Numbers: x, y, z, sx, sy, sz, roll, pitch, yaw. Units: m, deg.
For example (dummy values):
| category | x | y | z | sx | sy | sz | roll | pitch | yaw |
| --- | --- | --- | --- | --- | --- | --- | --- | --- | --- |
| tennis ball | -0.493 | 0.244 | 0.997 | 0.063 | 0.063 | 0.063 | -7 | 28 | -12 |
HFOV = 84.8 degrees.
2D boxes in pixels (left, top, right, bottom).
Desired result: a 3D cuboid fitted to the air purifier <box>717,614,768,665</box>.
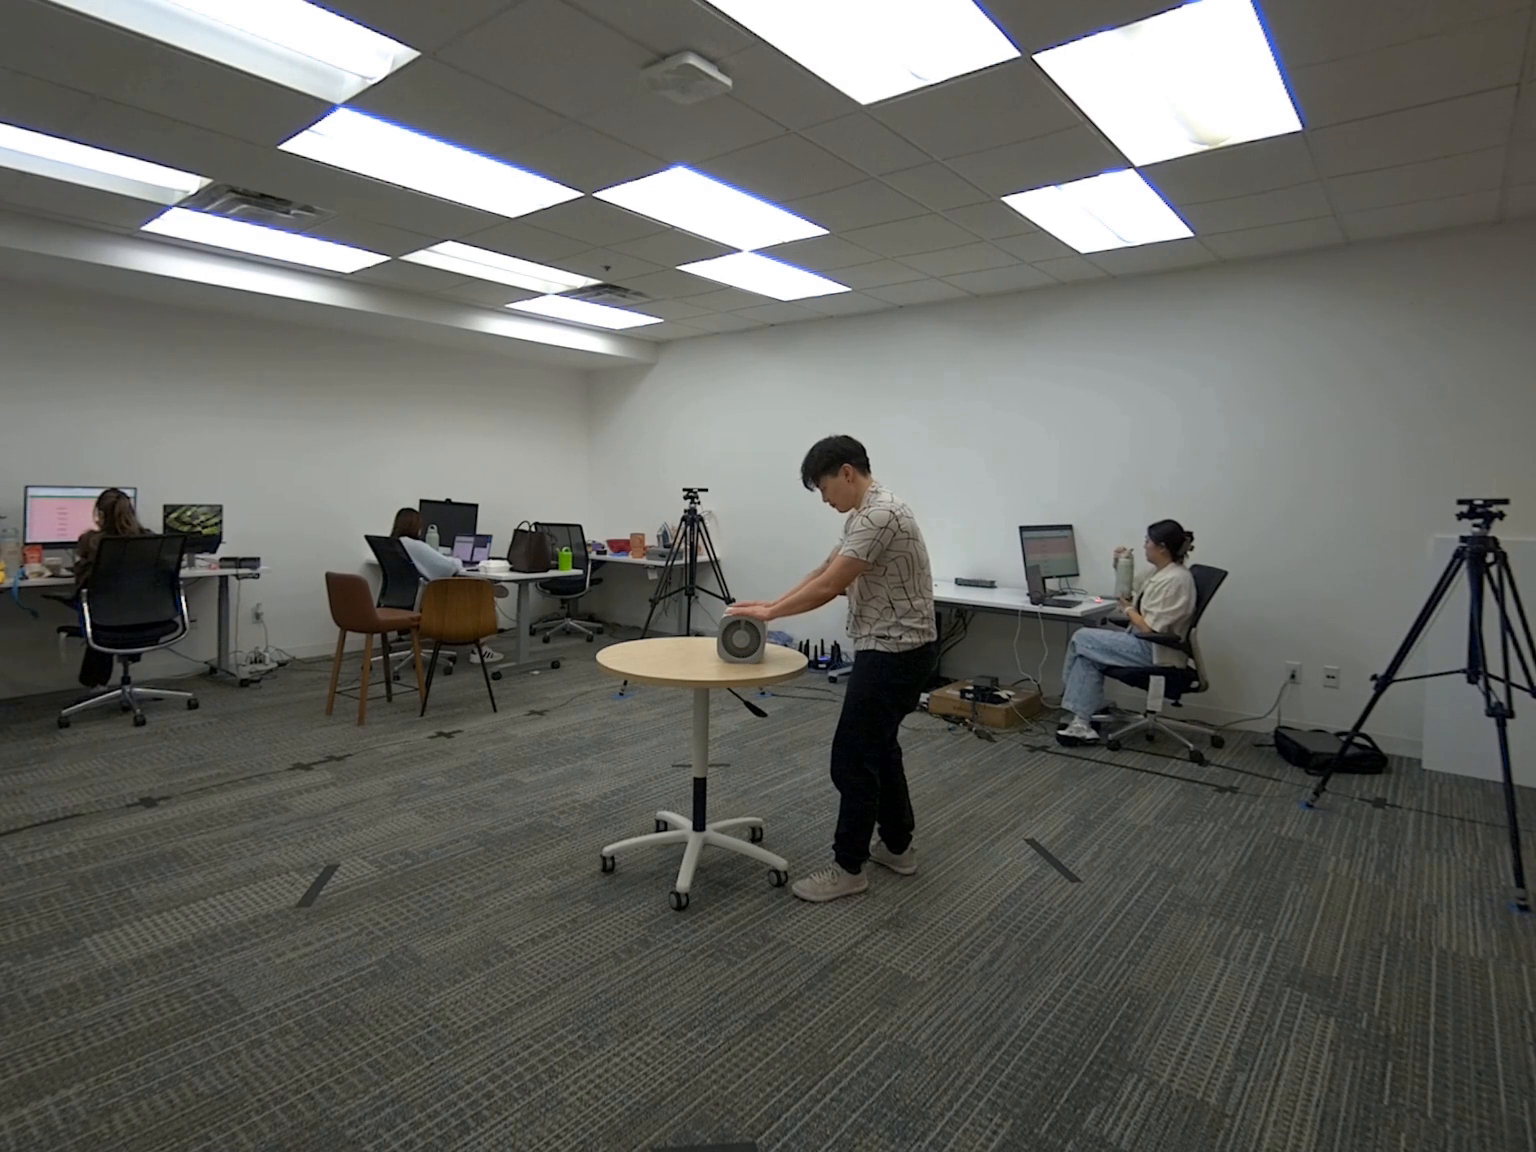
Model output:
| category | x | y | z | sx | sy | sz | roll | pitch | yaw |
| --- | --- | --- | --- | --- | --- | --- | --- | --- | --- |
| air purifier | -0.104 | 0.205 | 3.105 | 0.171 | 0.171 | 0.265 | 4 | 4 | 1 |
